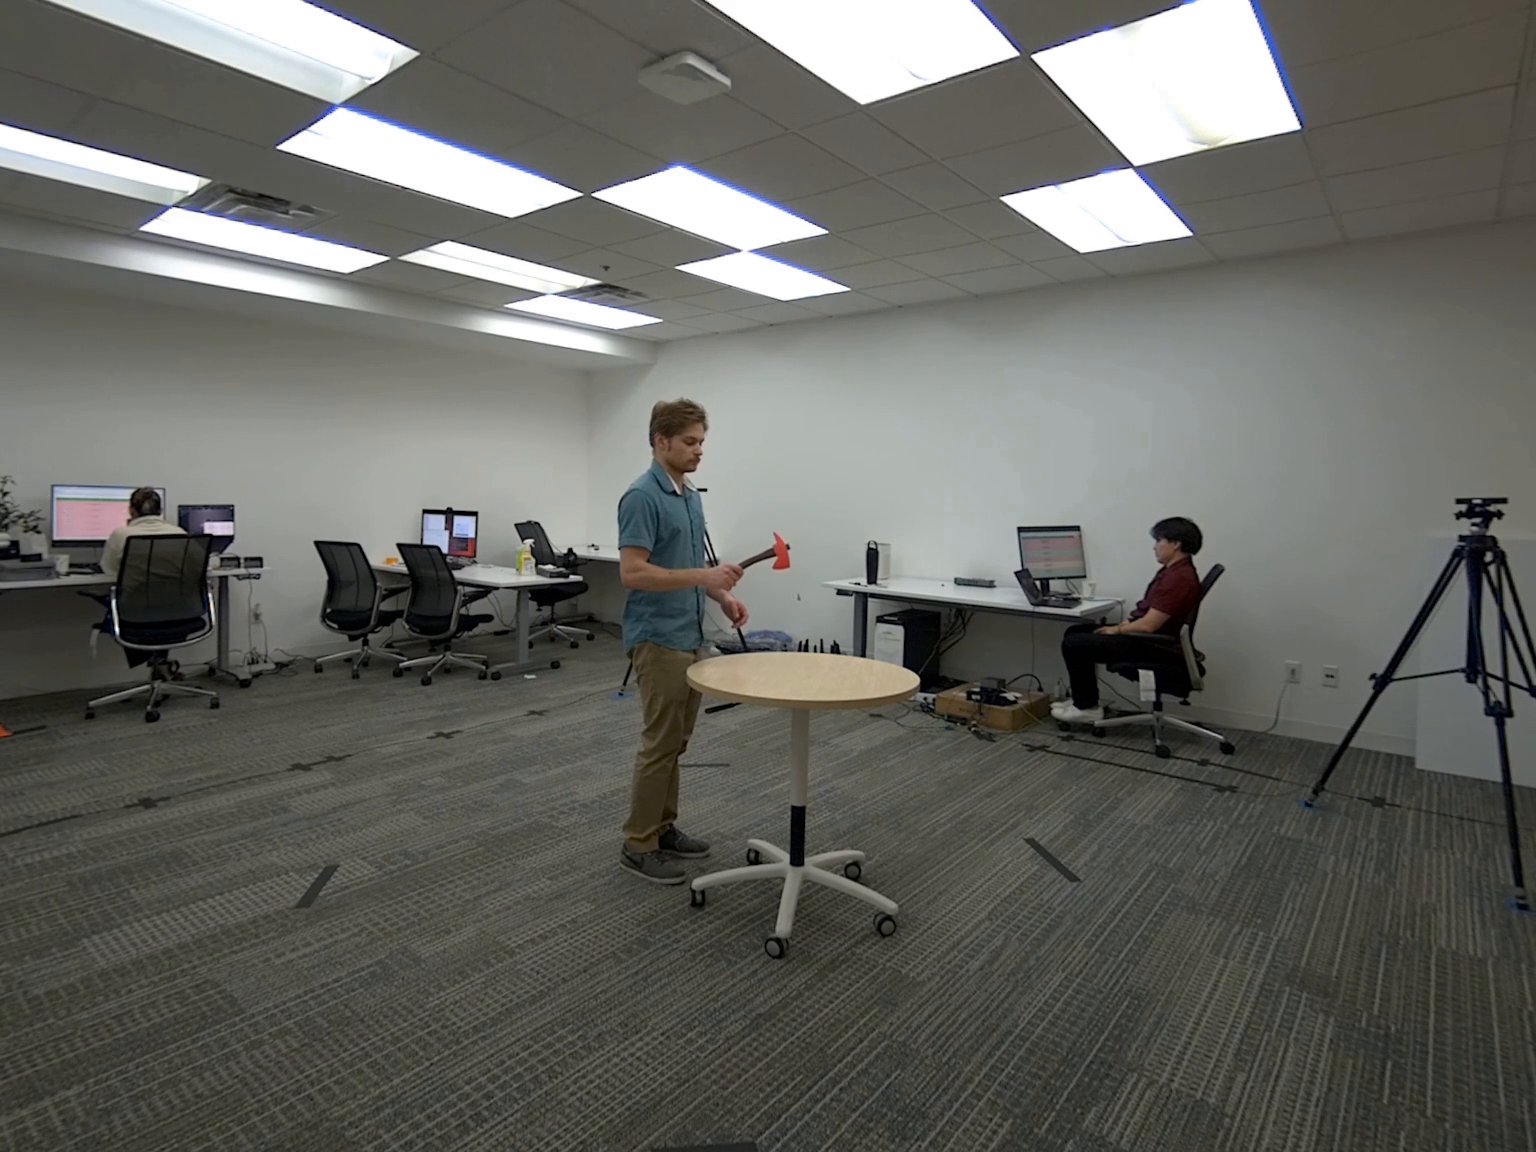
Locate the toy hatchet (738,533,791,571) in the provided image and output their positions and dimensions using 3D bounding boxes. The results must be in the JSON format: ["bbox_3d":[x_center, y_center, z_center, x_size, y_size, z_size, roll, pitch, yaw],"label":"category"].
[{"bbox_3d":[-0.040,-0.022,2.880,0.270,0.134,0.029,-39,-17,2],"label":"toy hatchet"}]
